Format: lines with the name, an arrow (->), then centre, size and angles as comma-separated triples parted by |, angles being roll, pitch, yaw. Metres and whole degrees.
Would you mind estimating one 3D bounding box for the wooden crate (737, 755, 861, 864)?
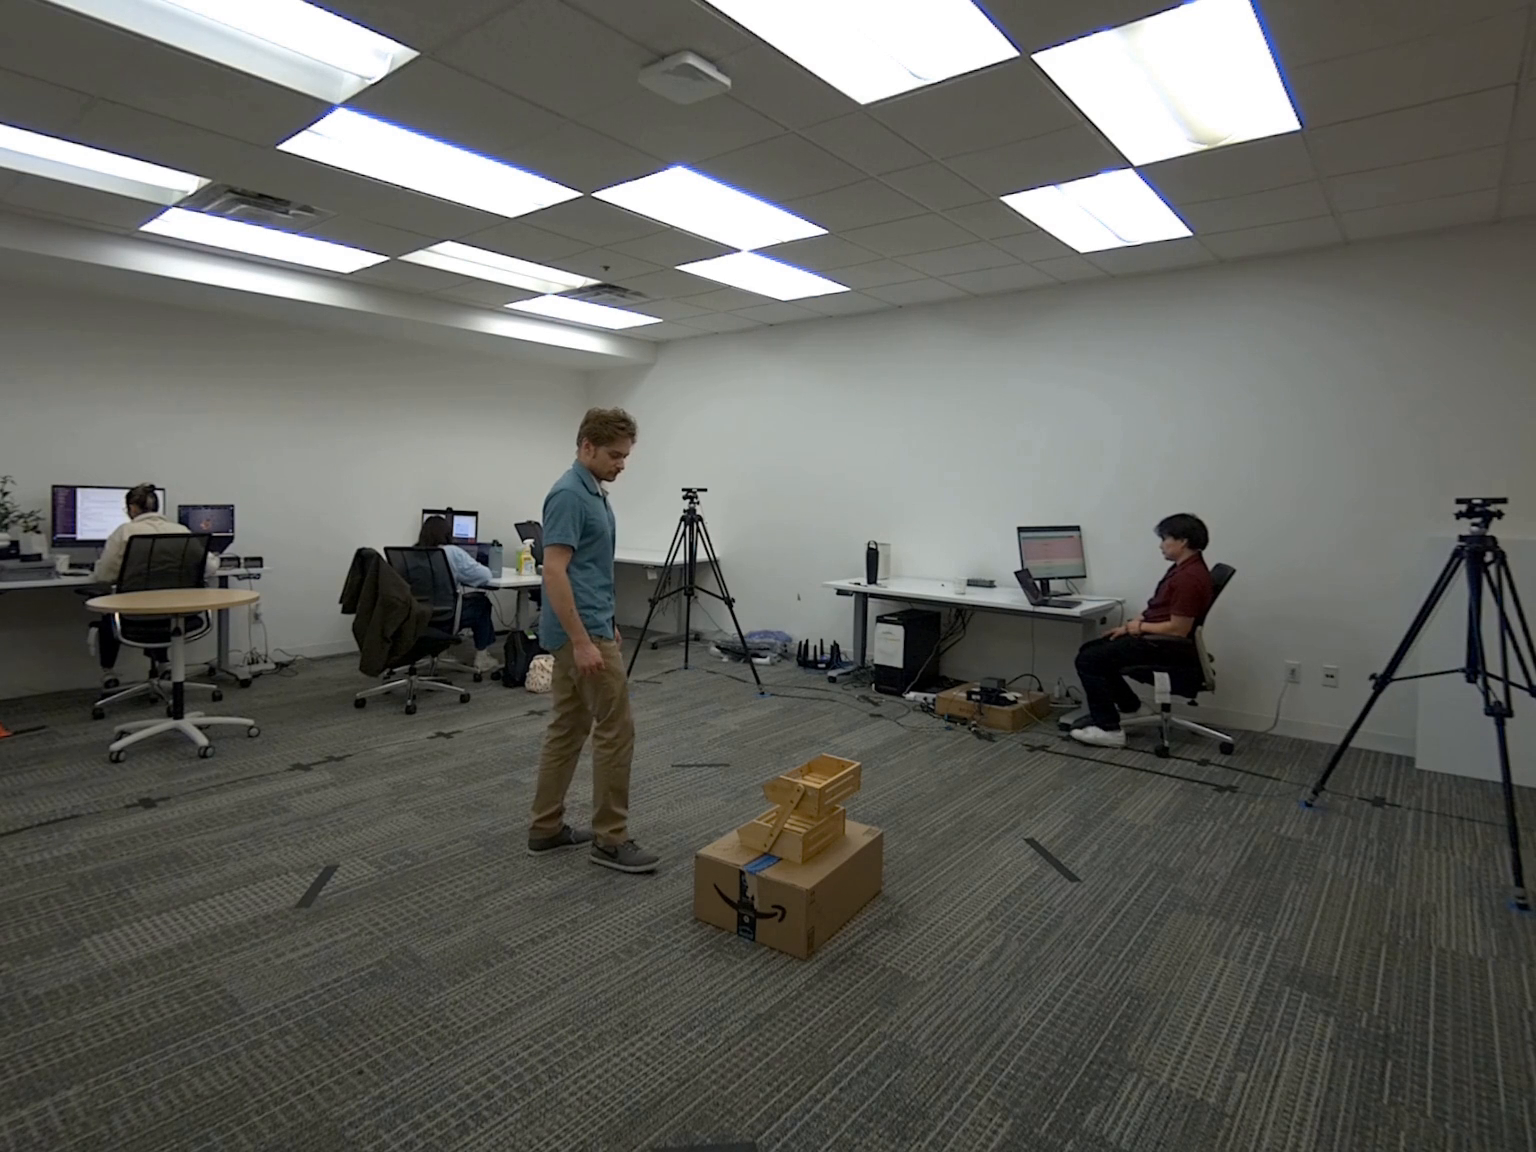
wooden crate -> 0.099, 0.755, 2.858 | 0.312, 0.272, 0.316 | 6, 7, 33
